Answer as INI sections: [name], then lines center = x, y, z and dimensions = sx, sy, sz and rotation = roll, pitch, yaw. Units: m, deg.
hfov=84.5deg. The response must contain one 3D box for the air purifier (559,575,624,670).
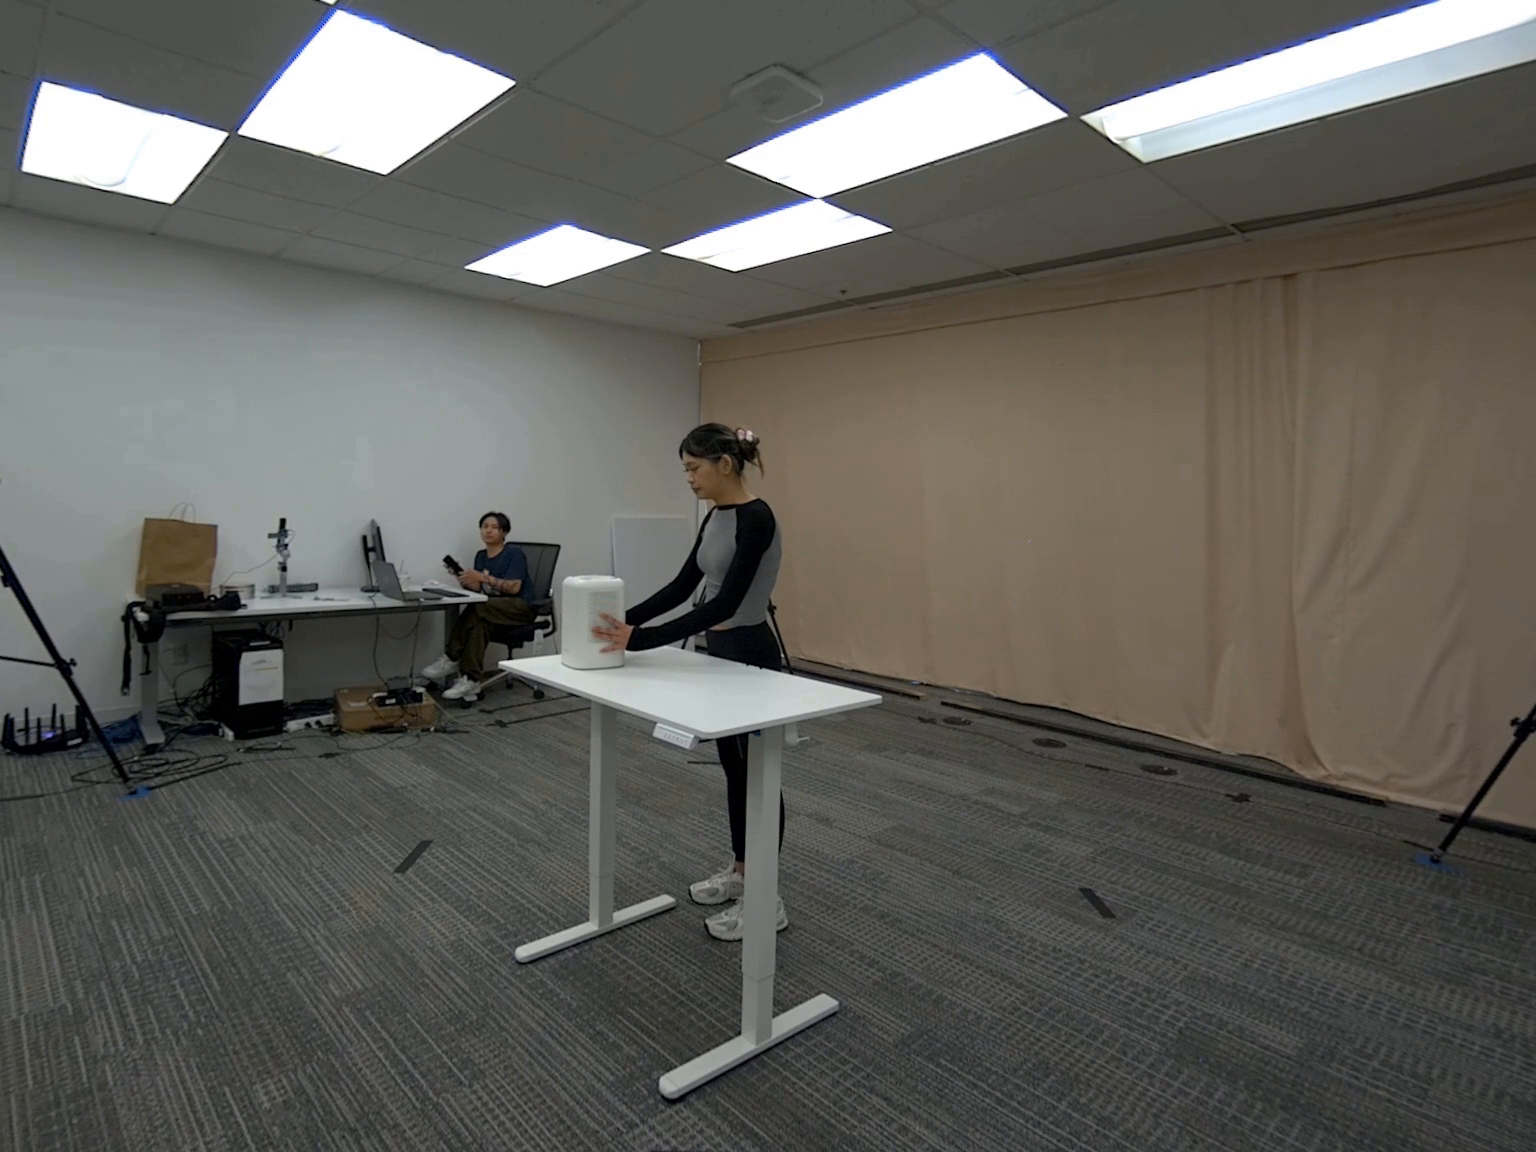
[air purifier]
center = -0.526, 0.136, 2.544
dimensions = 0.168, 0.265, 0.175
rotation = -1, 2, -33
